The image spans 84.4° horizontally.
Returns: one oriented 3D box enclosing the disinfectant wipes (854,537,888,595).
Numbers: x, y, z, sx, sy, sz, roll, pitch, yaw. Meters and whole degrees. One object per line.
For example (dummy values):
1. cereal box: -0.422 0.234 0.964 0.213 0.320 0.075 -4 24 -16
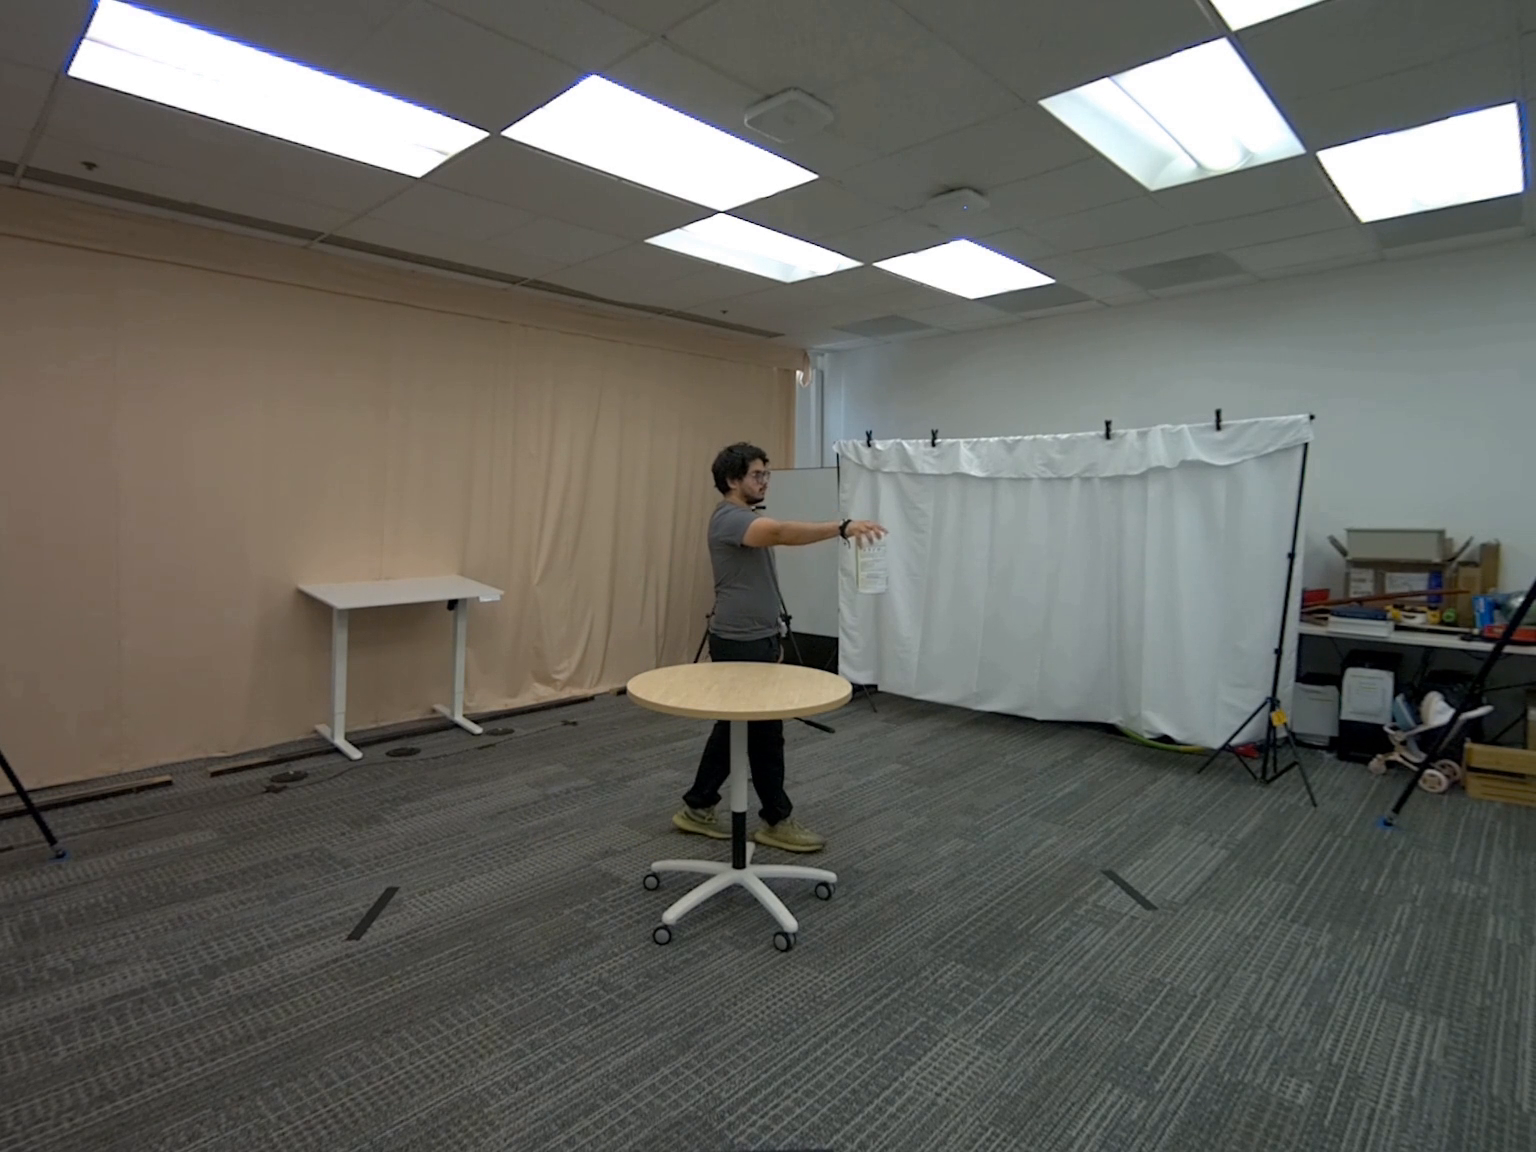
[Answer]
1. disinfectant wipes: 0.373 -0.044 2.961 0.118 0.216 0.118 -3 7 -1
